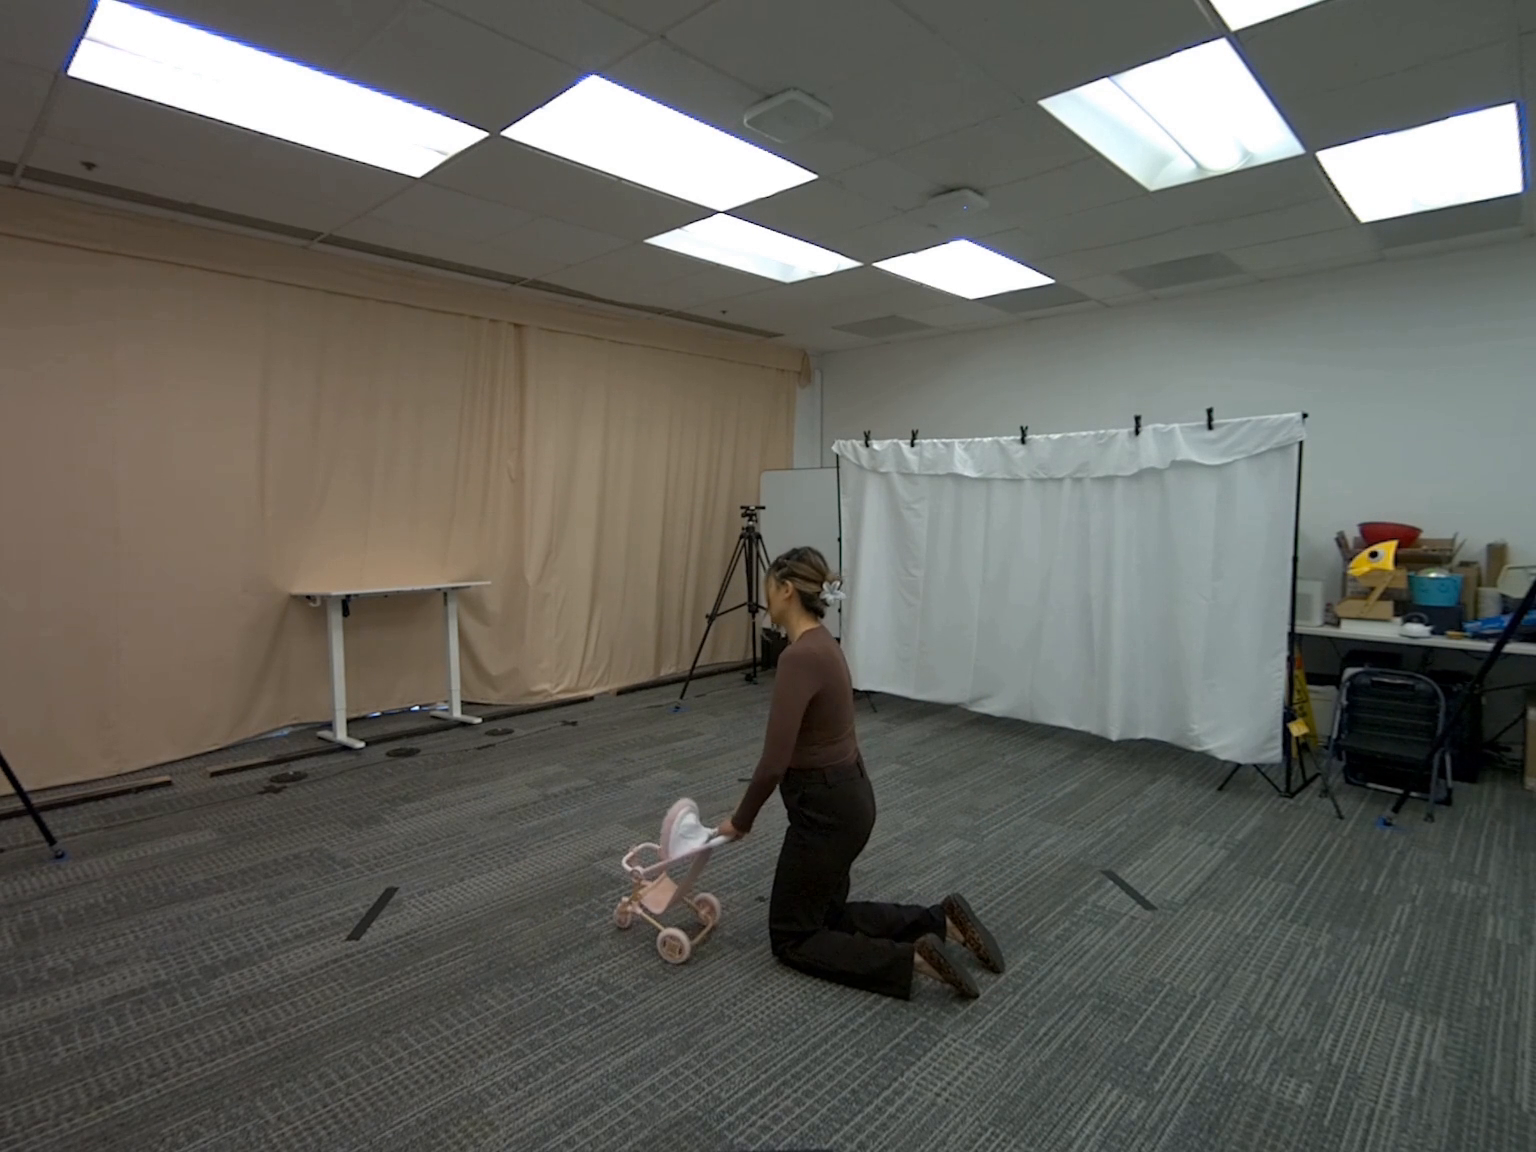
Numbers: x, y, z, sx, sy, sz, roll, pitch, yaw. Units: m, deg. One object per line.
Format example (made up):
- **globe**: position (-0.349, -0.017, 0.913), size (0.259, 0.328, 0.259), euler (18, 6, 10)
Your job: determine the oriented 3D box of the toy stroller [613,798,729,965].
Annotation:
- **toy stroller**: position (-0.300, 0.951, 2.701), size (0.351, 0.533, 0.274), euler (20, 12, 25)
